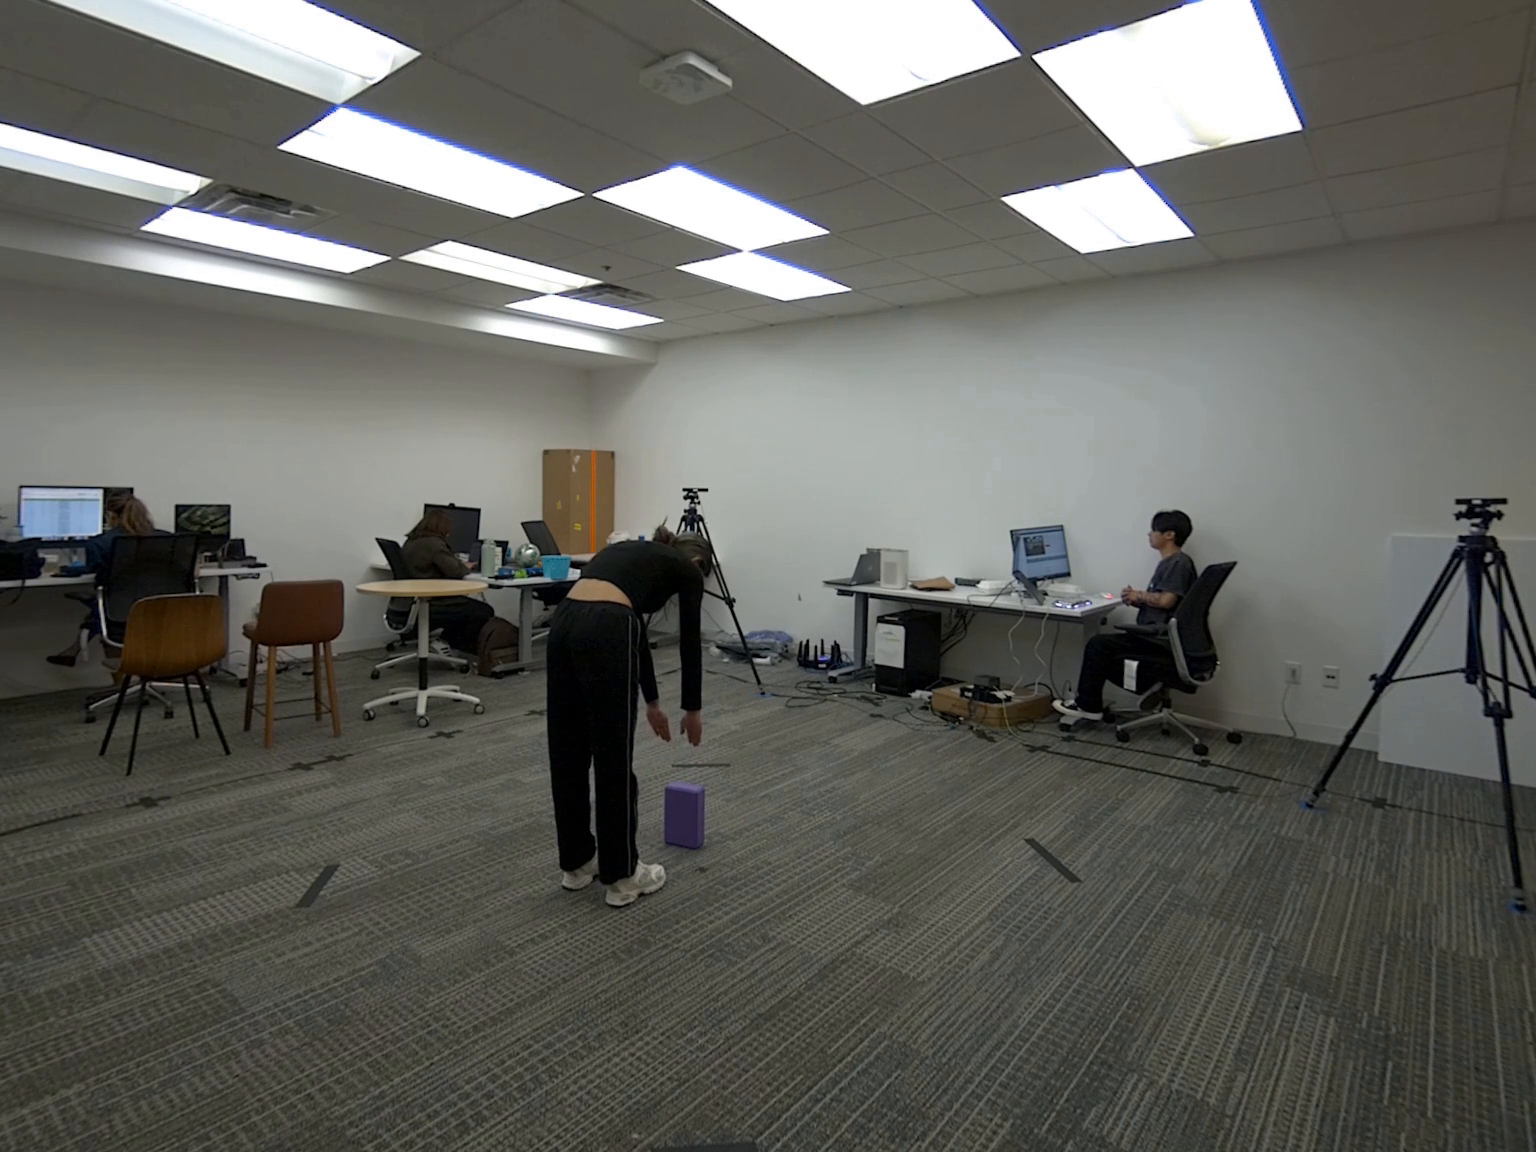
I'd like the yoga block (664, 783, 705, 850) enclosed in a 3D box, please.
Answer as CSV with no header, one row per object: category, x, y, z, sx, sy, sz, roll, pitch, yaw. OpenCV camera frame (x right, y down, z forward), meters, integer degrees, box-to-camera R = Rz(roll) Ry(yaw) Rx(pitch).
yoga block,-0.339,0.930,3.331,0.152,0.229,0.075,2,3,23
